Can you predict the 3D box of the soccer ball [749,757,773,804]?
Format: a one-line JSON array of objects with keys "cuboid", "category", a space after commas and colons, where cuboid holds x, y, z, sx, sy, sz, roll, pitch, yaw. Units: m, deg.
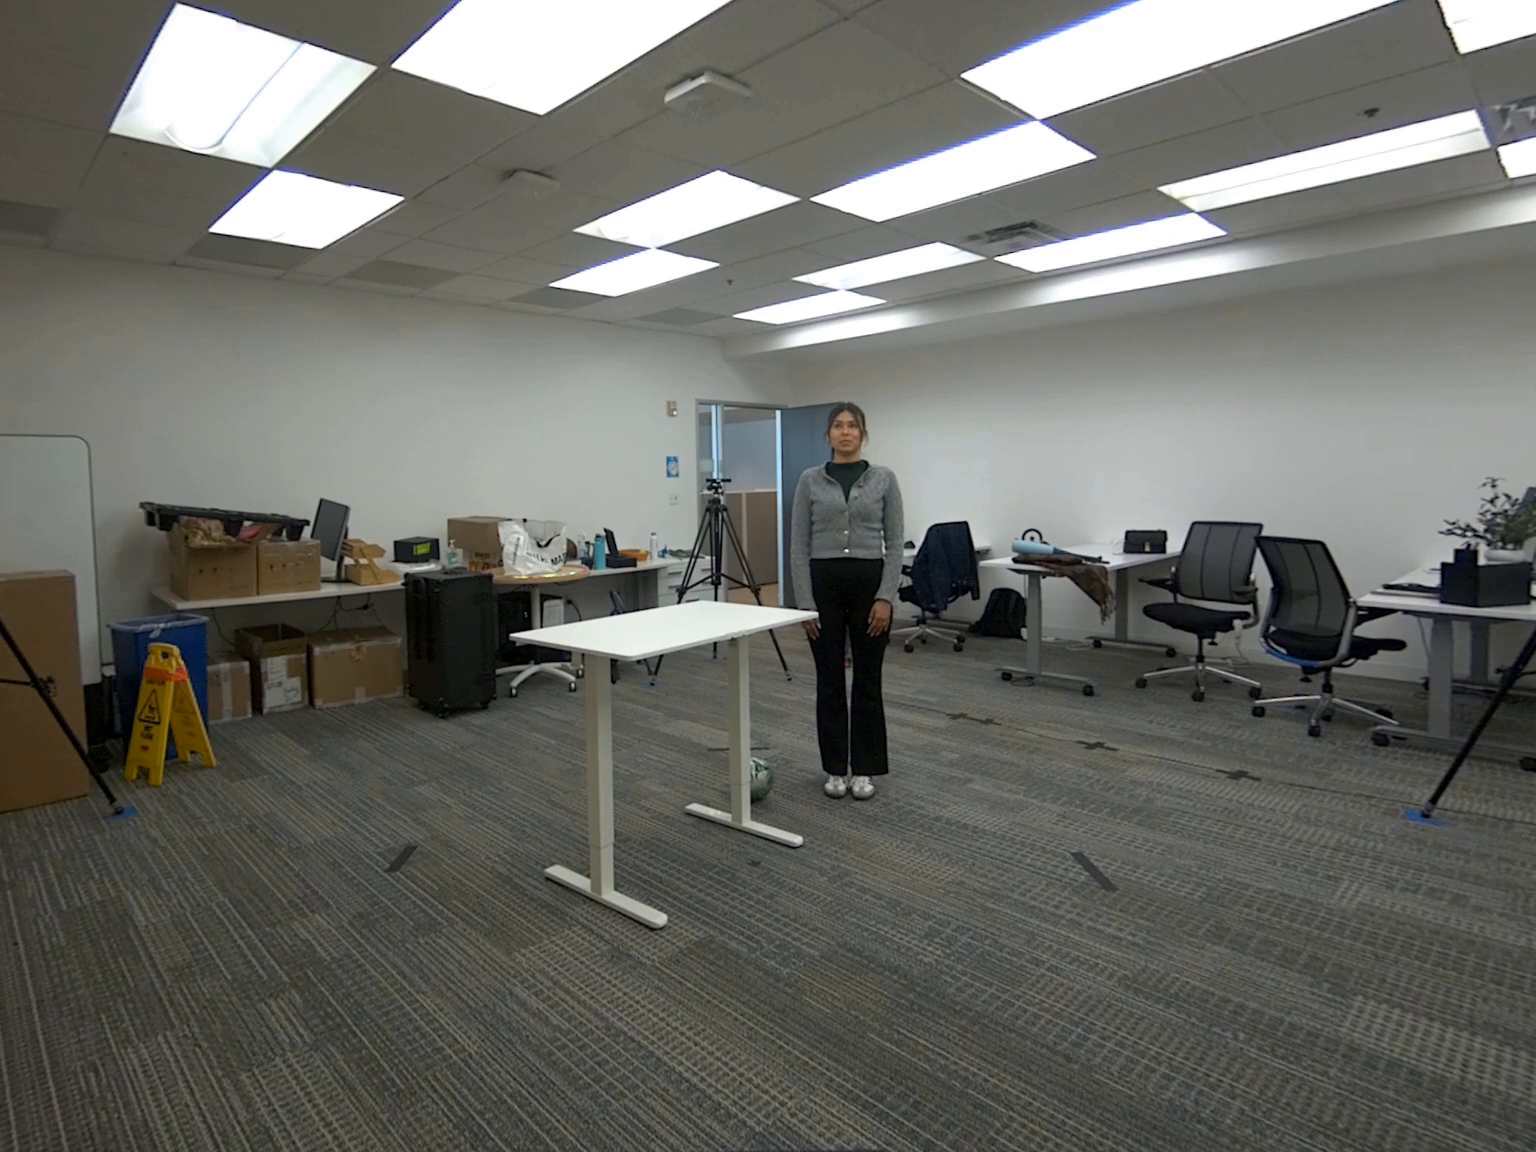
[{"cuboid": [-0.071, 0.880, 3.730, 0.187, 0.187, 0.188, -1, 5, -2], "category": "soccer ball"}]
